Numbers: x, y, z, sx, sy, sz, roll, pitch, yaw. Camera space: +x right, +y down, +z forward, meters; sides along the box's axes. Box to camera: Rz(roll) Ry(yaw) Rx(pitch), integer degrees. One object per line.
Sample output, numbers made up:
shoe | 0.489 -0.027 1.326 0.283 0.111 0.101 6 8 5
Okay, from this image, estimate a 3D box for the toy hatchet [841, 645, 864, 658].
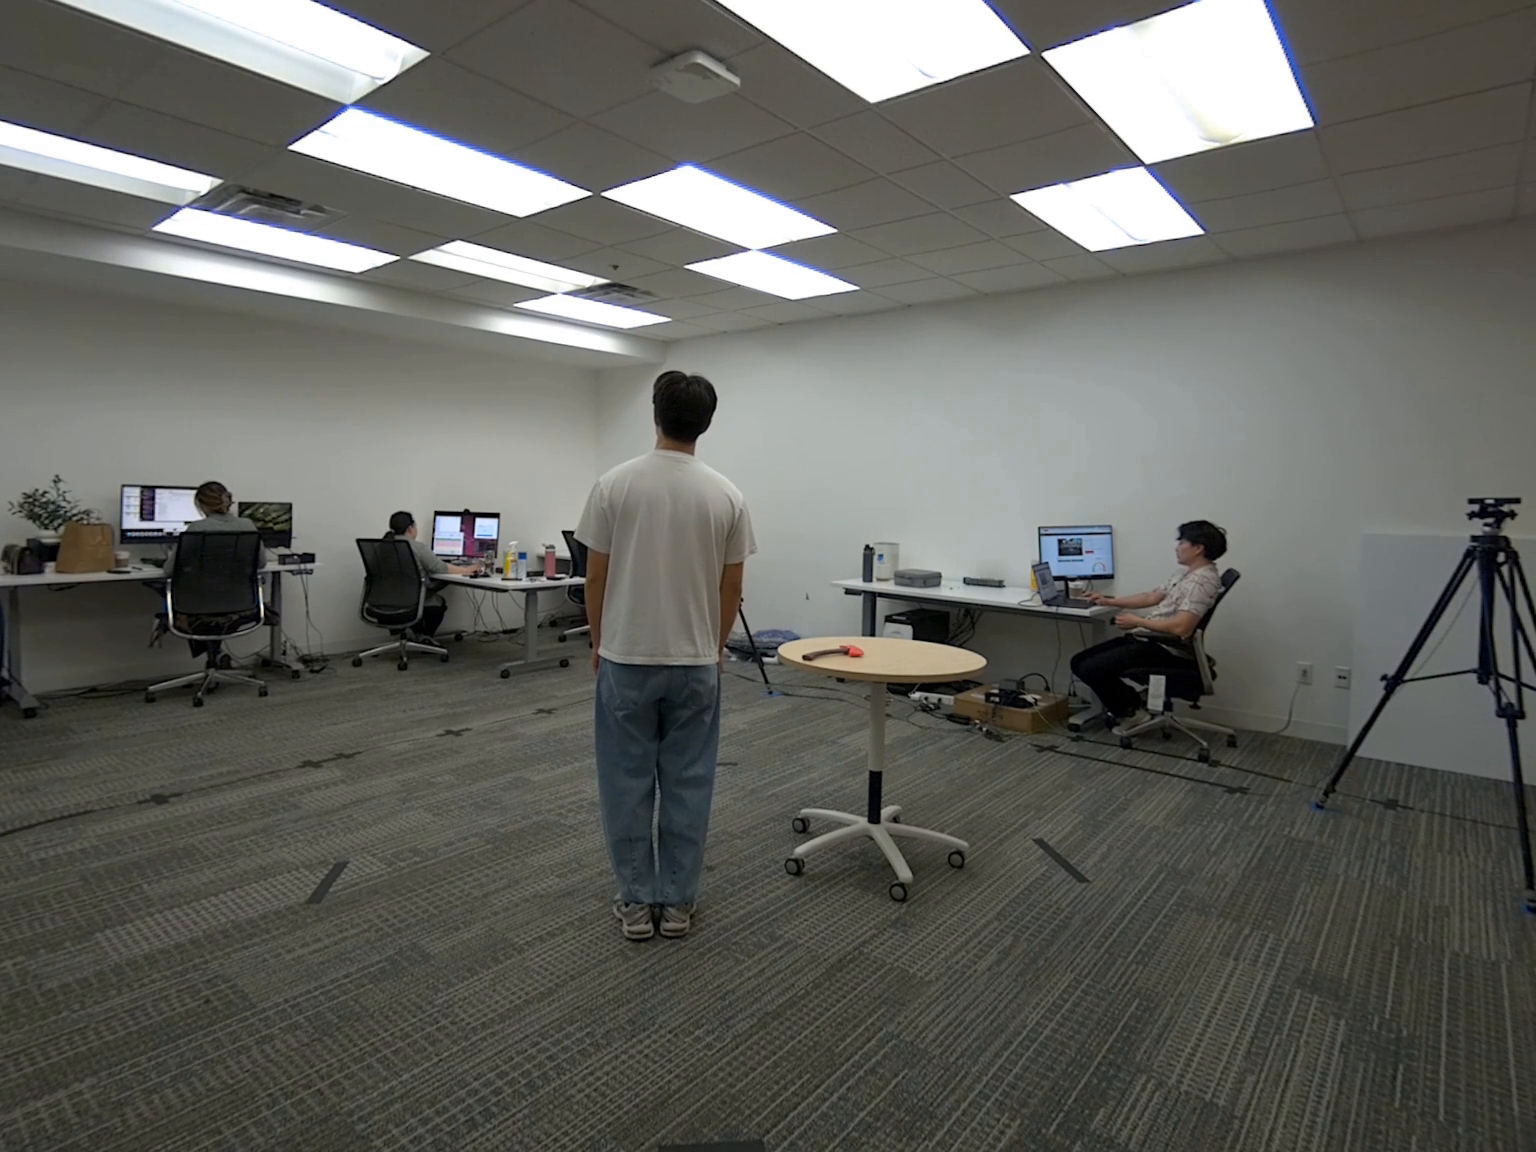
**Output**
toy hatchet | 0.240 0.281 3.092 0.136 0.029 0.262 11 12 39
